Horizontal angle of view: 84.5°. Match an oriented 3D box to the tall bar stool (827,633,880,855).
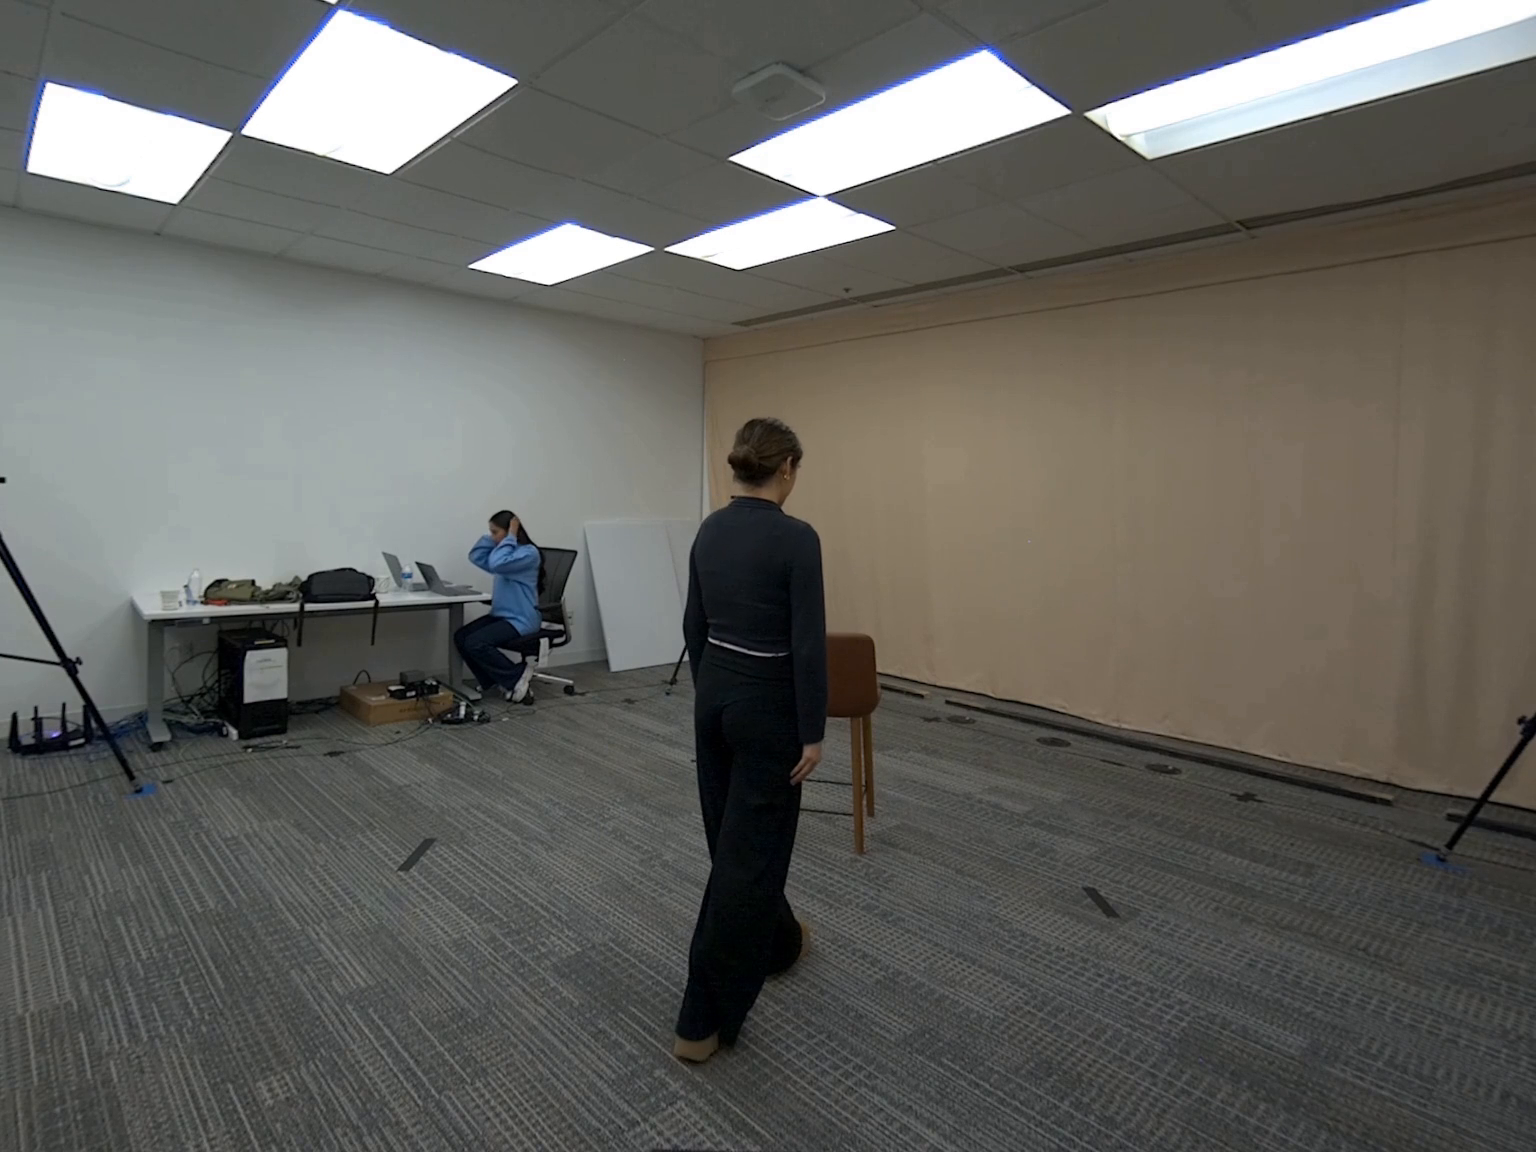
[{"bbox_3d":[0.234,0.638,3.538,0.461,0.887,0.464,2,4,13],"label":"tall bar stool"}]
